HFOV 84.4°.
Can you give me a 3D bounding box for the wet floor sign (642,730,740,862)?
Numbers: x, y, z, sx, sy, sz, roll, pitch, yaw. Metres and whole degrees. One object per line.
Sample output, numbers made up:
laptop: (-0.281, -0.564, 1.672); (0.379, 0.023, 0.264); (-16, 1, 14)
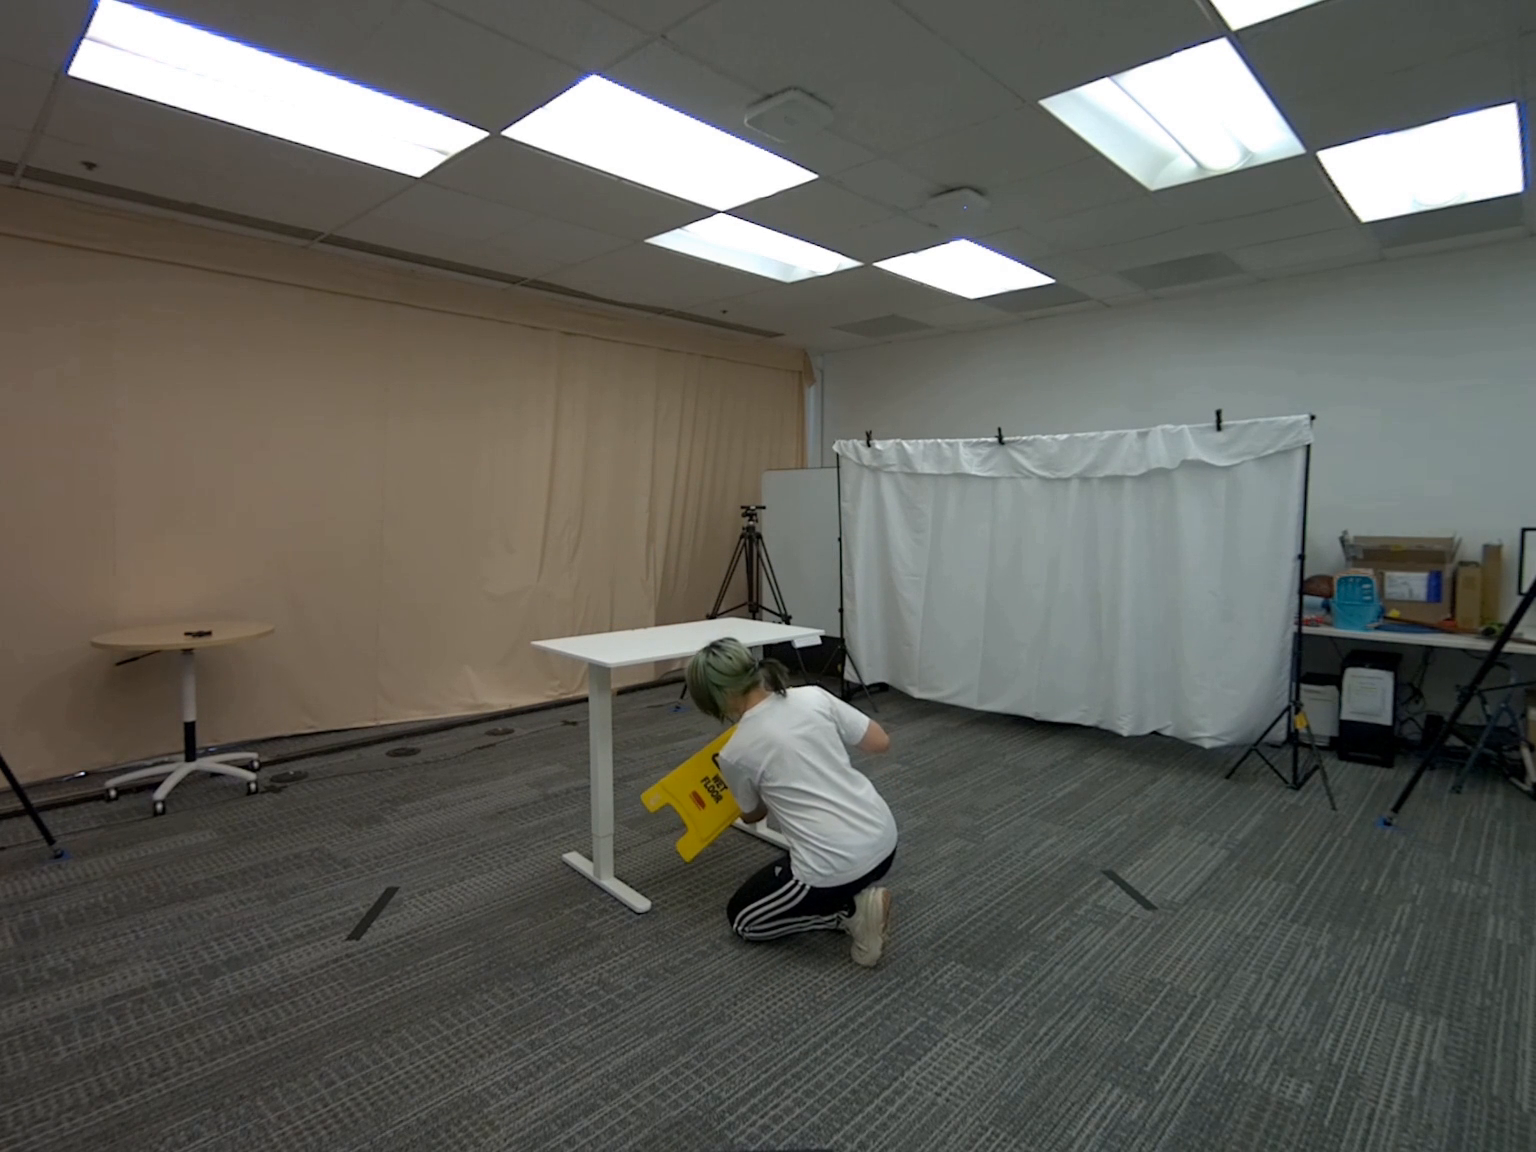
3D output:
wet floor sign: (-0.101, 0.676, 2.988); (0.648, 0.286, 0.285); (-41, -11, 8)
